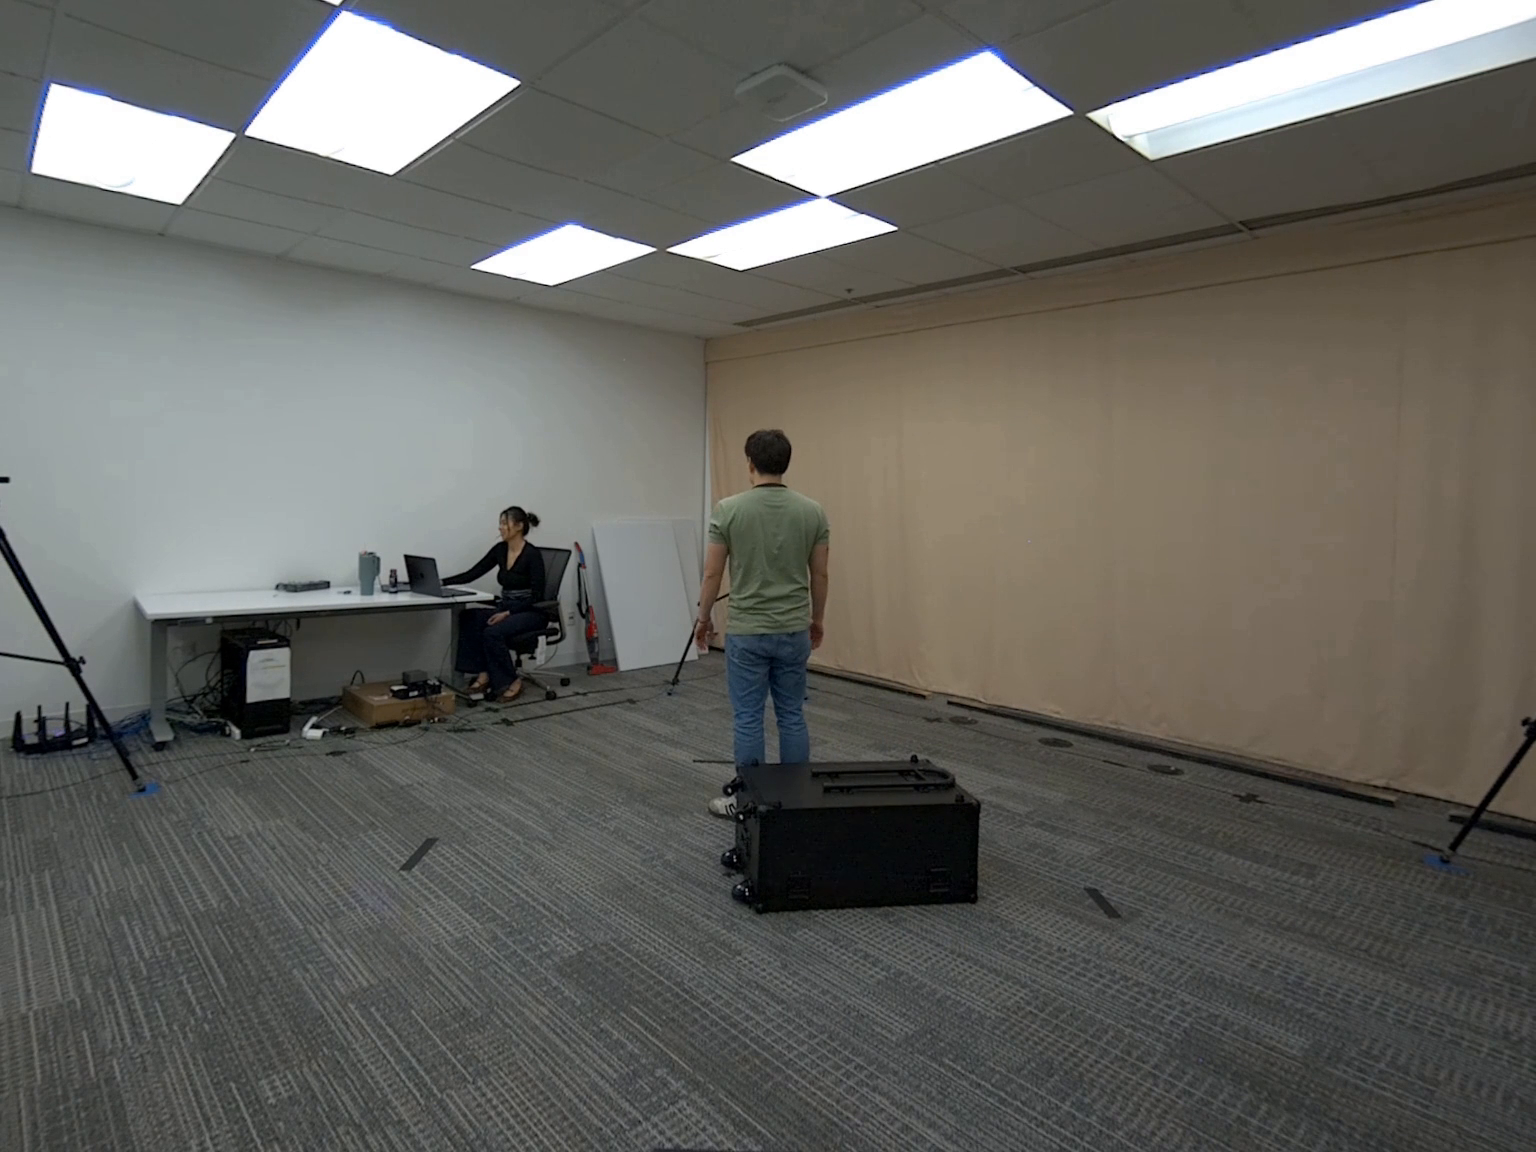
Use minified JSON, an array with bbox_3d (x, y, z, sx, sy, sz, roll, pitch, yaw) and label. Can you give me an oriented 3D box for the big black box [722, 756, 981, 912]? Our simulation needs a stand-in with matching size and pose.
[{"bbox_3d":[0.270,0.923,3.084,0.855,0.395,0.527,-1,5,-10],"label":"big black box"}]
